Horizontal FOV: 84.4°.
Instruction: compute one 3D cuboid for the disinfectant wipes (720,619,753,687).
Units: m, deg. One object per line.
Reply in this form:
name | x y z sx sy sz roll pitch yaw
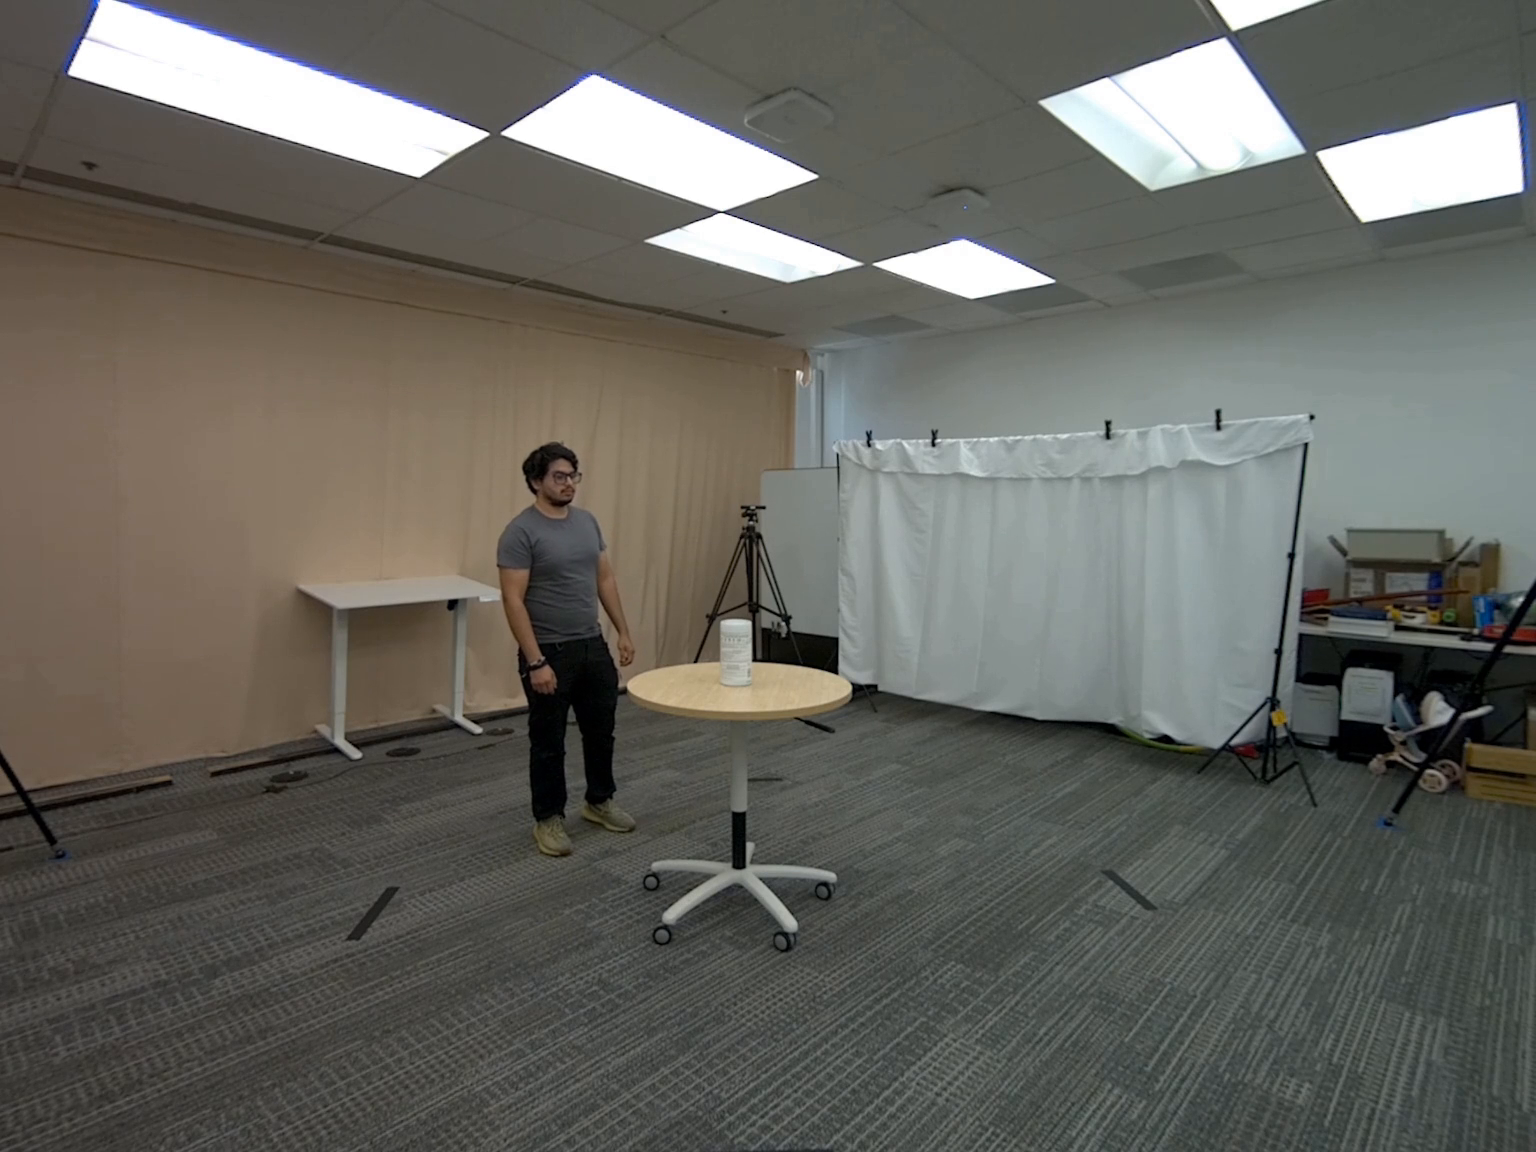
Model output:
disinfectant wipes | -0.102 0.264 2.880 0.118 0.217 0.118 0 3 -2
